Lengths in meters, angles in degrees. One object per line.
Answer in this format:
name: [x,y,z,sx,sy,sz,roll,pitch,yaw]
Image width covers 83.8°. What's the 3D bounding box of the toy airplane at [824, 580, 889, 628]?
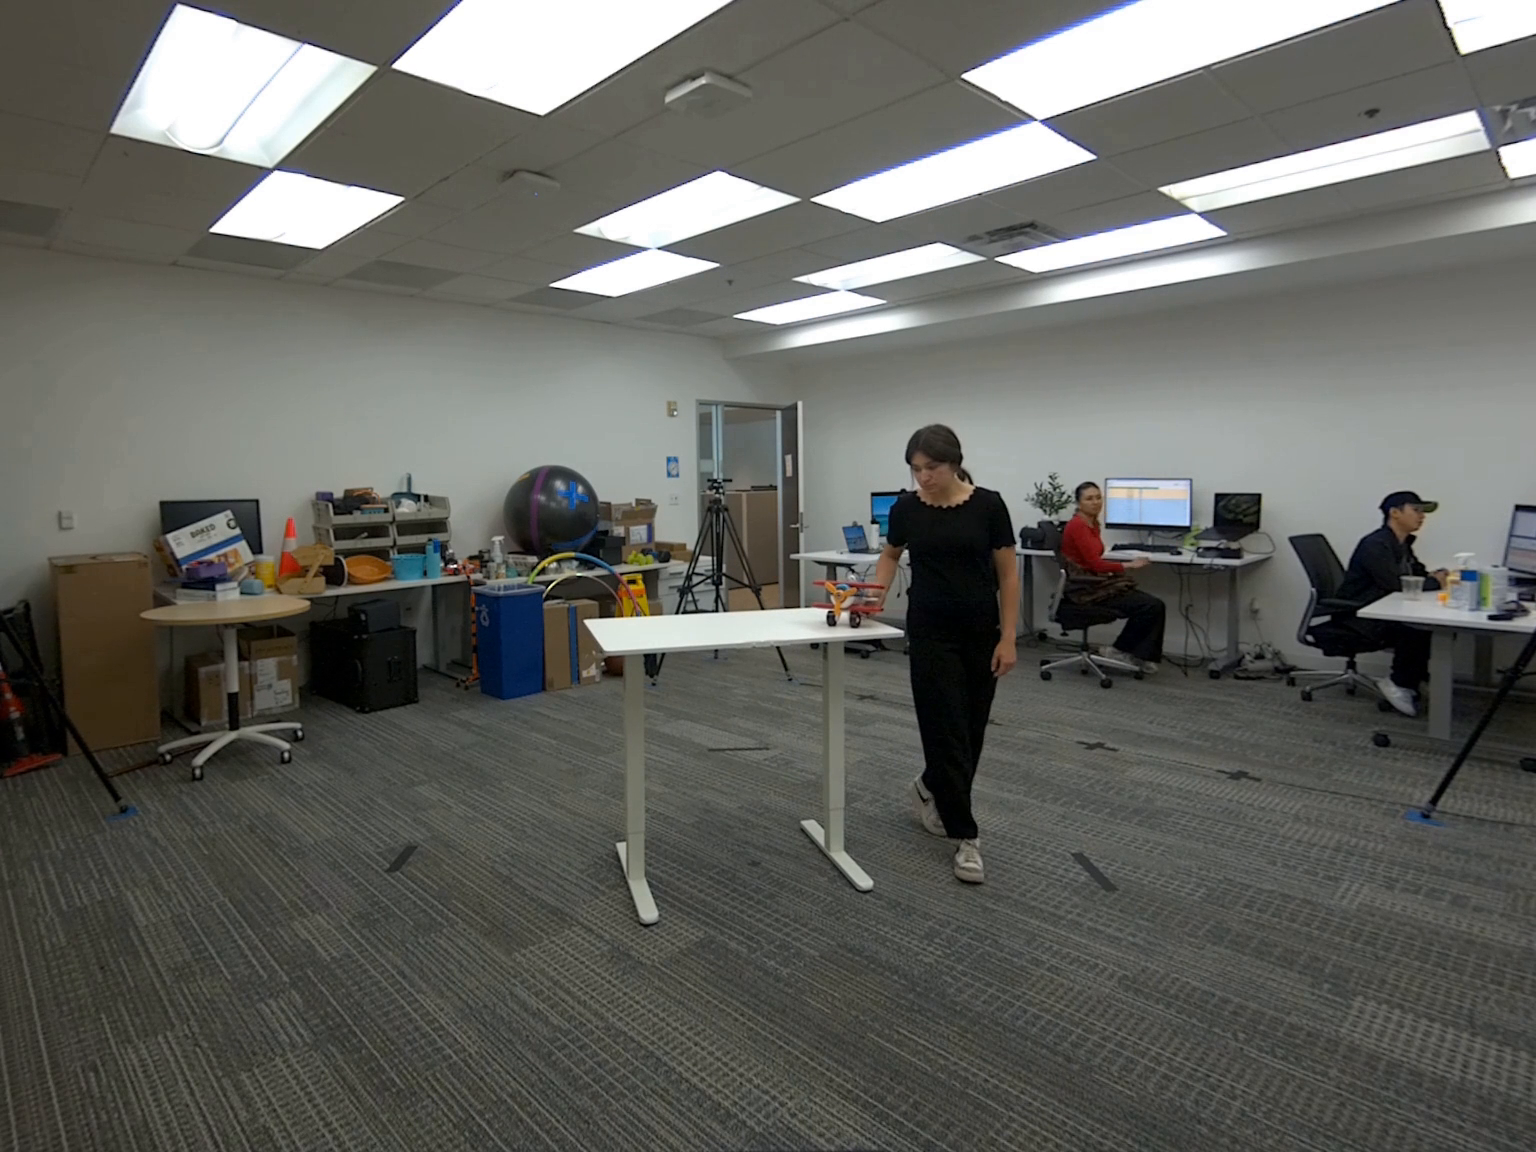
toy airplane: [0.281,0.082,3.031,0.251,0.155,0.262,-3,12,-3]
